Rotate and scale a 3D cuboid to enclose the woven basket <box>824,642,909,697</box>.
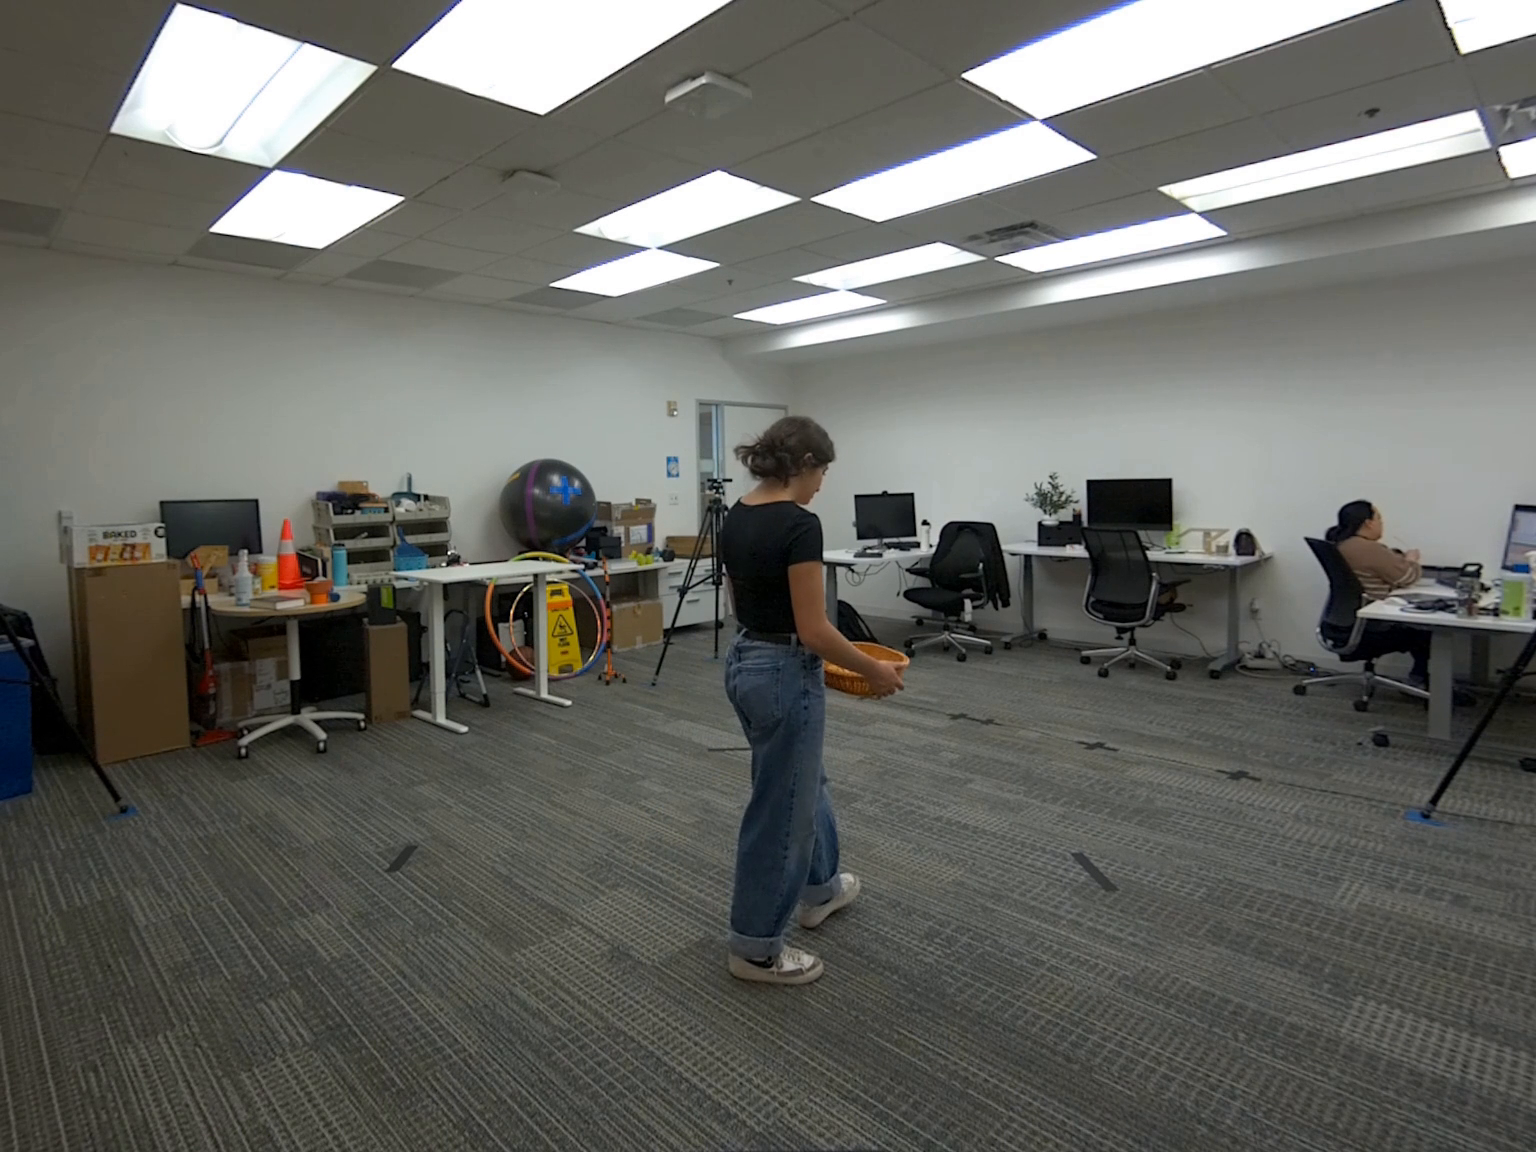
[{"bbox_3d":[0.252,0.277,2.496,0.247,0.073,0.361,-12,13,-29],"label":"woven basket"}]
